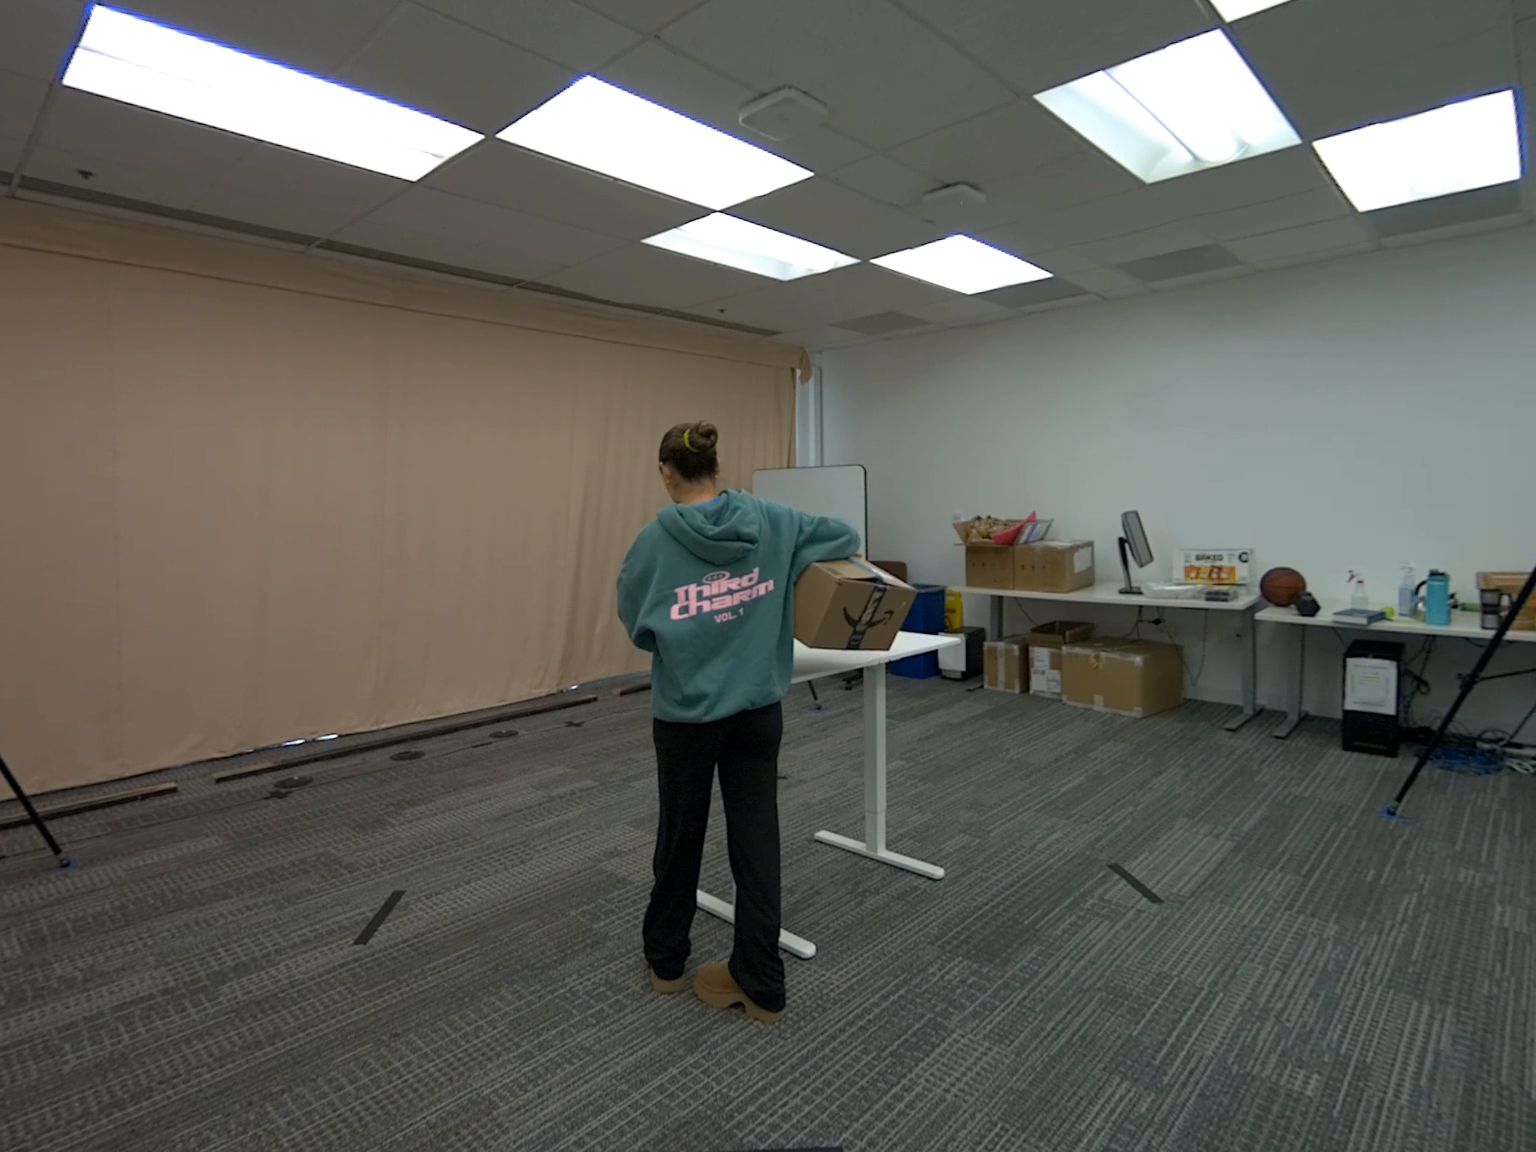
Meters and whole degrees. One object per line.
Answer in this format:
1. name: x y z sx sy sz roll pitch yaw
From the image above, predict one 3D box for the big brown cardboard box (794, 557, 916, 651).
1. big brown cardboard box: 0.097 0.000 2.608 0.611 0.232 0.403 31 15 39
